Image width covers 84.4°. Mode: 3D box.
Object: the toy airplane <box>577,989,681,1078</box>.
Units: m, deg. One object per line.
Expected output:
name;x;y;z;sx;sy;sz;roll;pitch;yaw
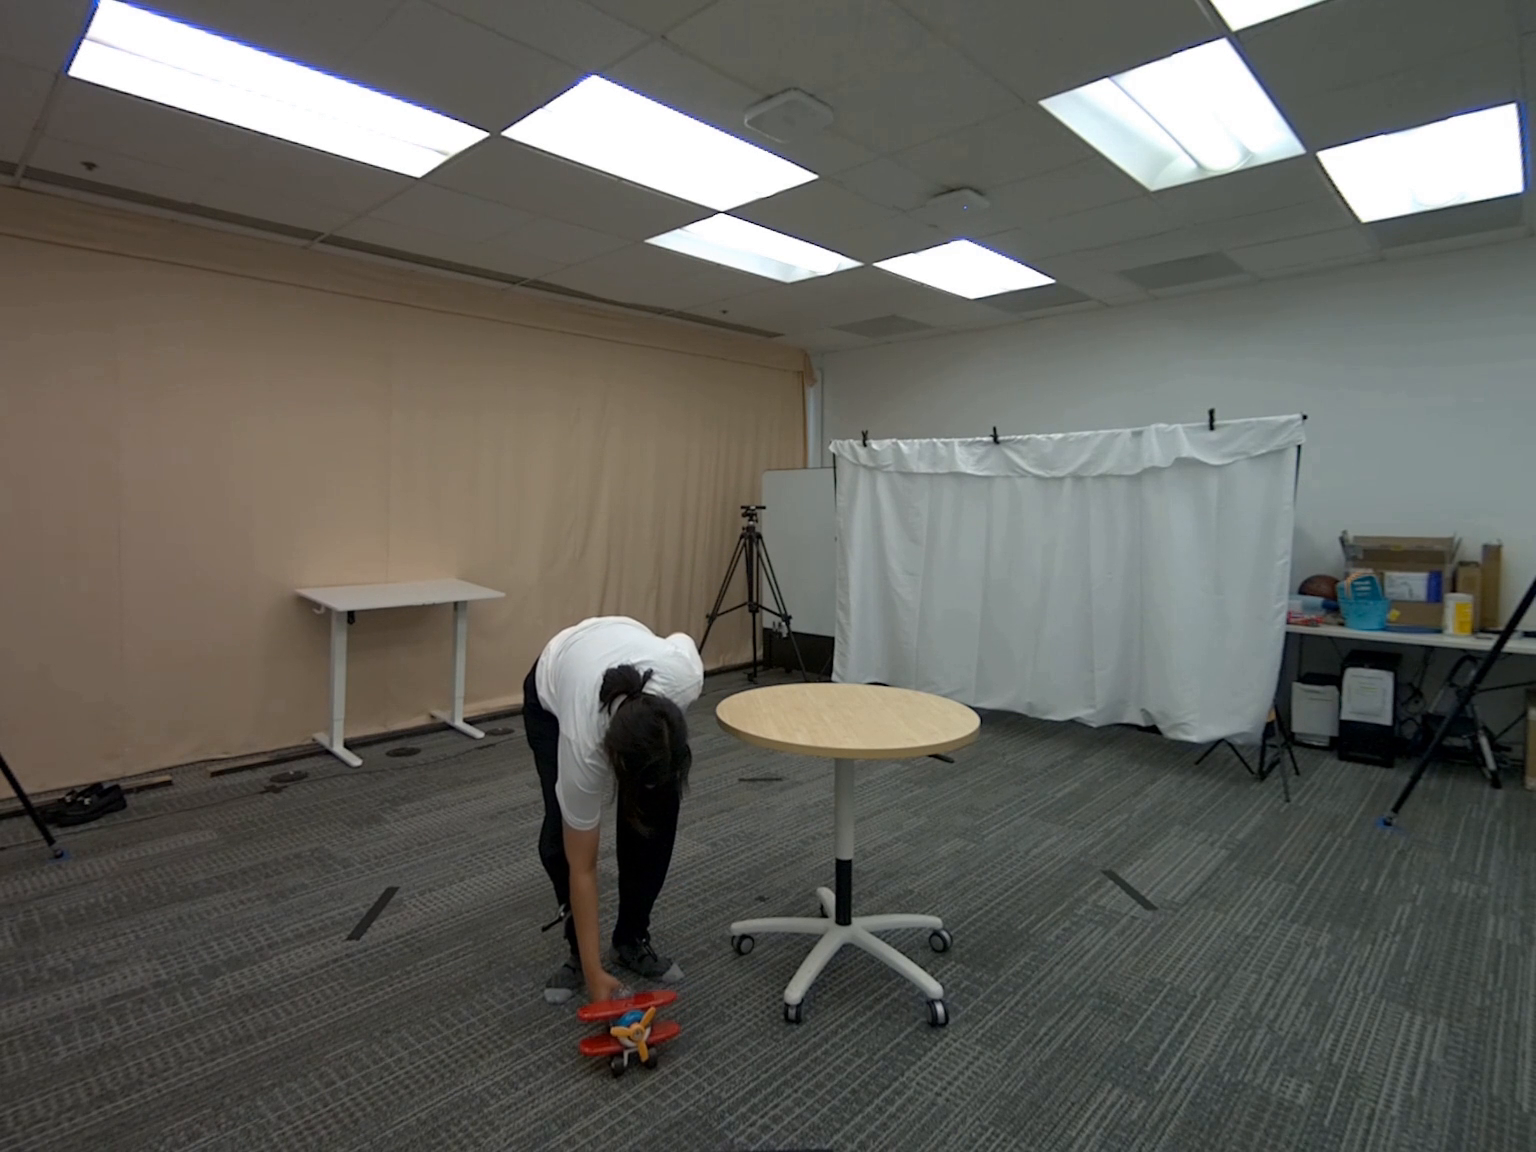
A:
toy airplane;-0.376;1.145;2.133;0.268;0.156;0.244;6;9;40
